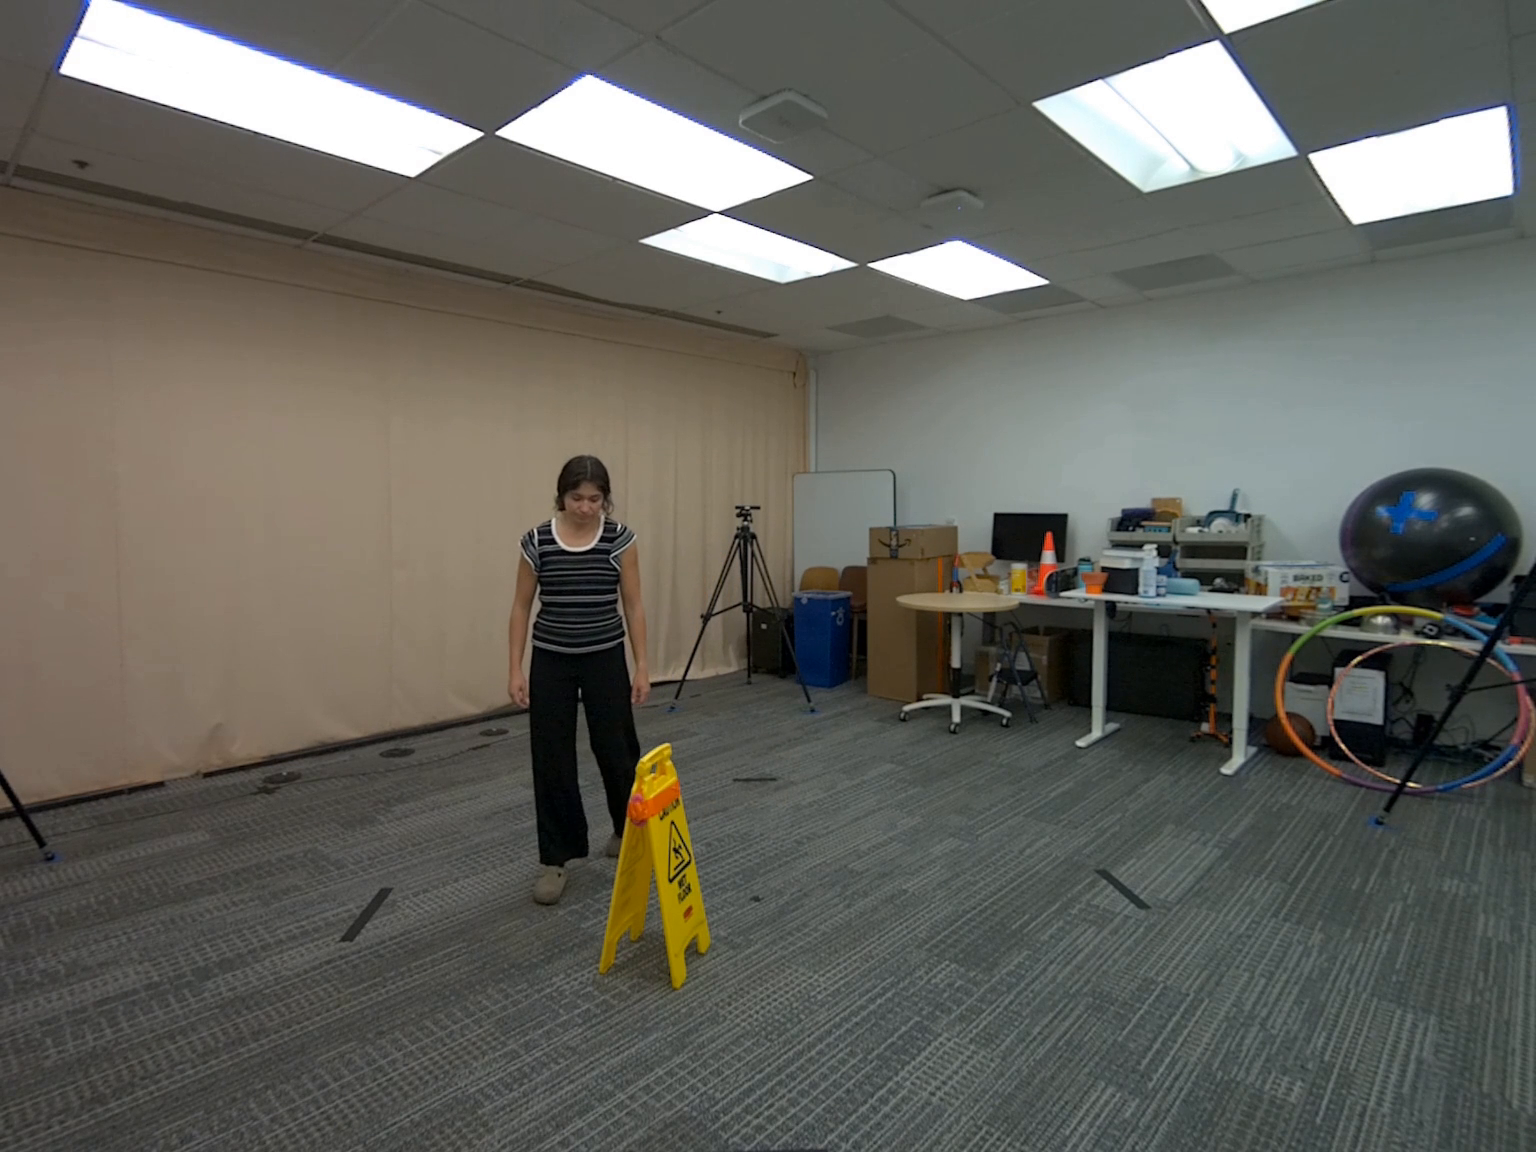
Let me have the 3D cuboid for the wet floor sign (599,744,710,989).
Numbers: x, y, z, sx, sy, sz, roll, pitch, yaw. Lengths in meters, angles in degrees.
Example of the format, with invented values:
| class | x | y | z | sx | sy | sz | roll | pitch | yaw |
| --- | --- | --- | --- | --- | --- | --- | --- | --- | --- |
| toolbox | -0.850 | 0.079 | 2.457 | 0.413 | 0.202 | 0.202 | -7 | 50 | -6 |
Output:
| class | x | y | z | sx | sy | sz | roll | pitch | yaw |
| --- | --- | --- | --- | --- | --- | --- | --- | --- | --- |
| wet floor sign | -0.348 | 0.858 | 2.571 | 0.295 | 0.645 | 0.277 | 0 | 2 | 18 |
